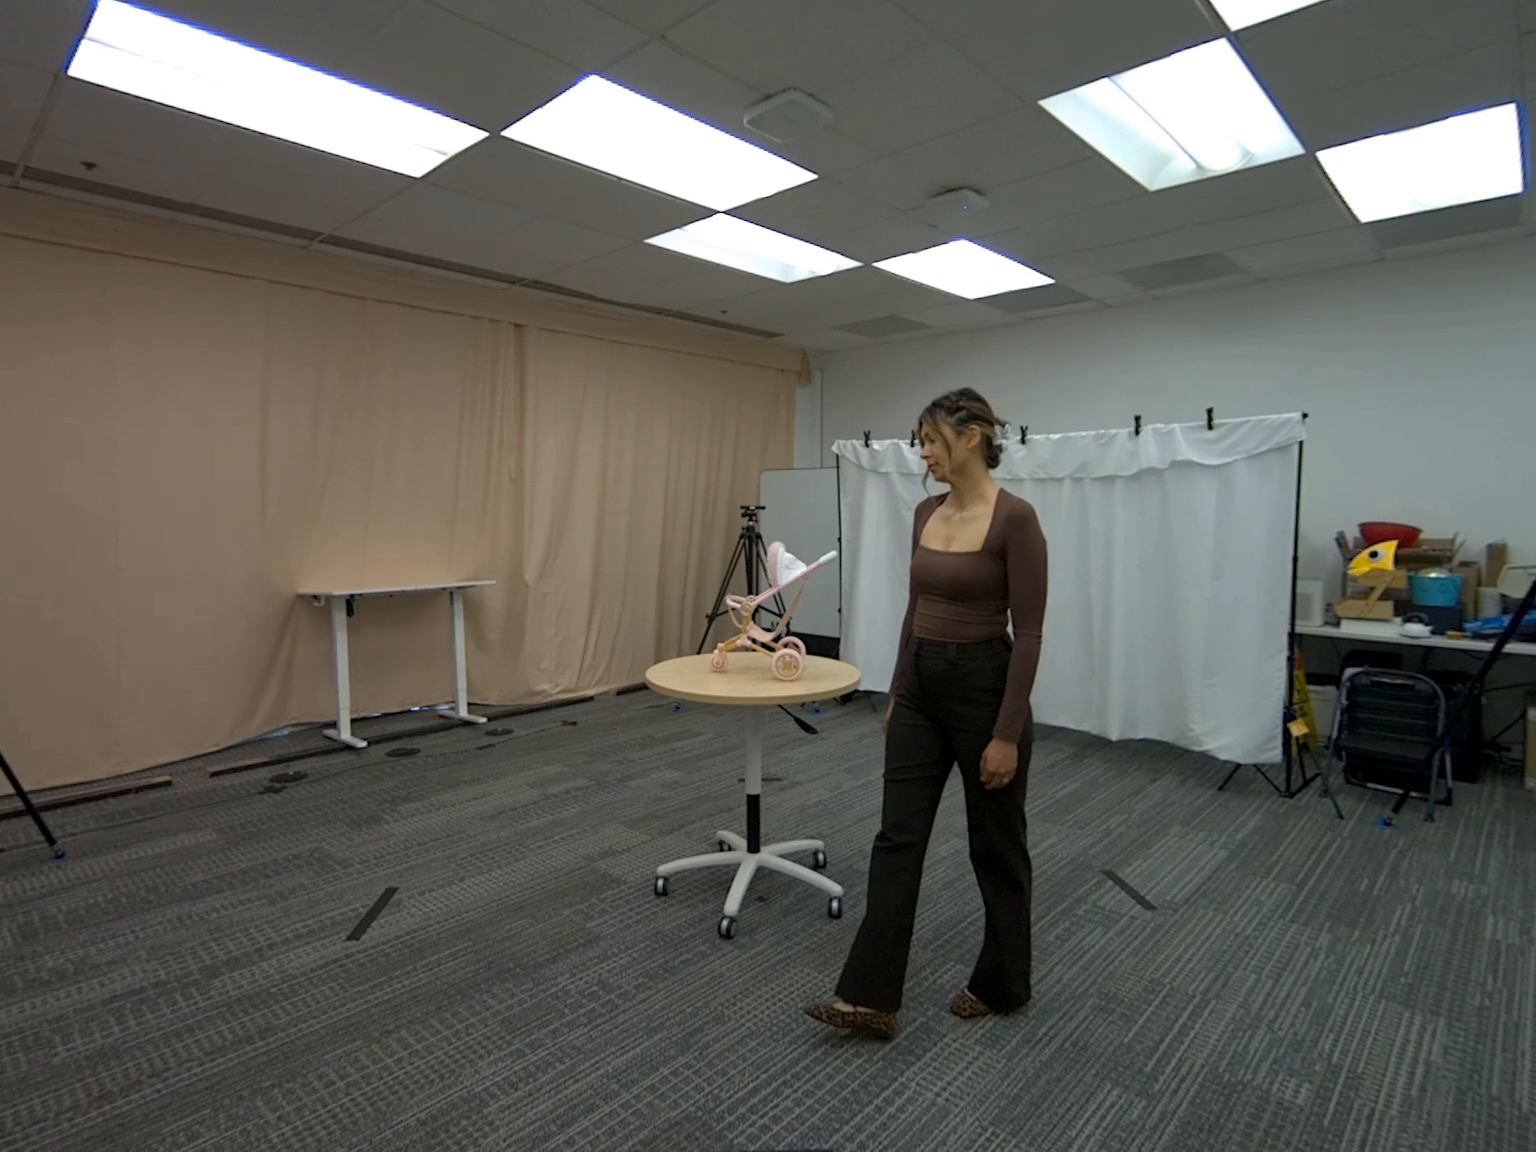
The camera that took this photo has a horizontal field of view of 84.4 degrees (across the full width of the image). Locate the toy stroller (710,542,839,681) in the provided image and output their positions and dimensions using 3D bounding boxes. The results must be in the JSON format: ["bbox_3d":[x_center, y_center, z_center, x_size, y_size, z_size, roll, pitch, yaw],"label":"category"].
[{"bbox_3d":[0.009,0.122,2.980,0.346,0.534,0.278,16,6,10],"label":"toy stroller"}]
